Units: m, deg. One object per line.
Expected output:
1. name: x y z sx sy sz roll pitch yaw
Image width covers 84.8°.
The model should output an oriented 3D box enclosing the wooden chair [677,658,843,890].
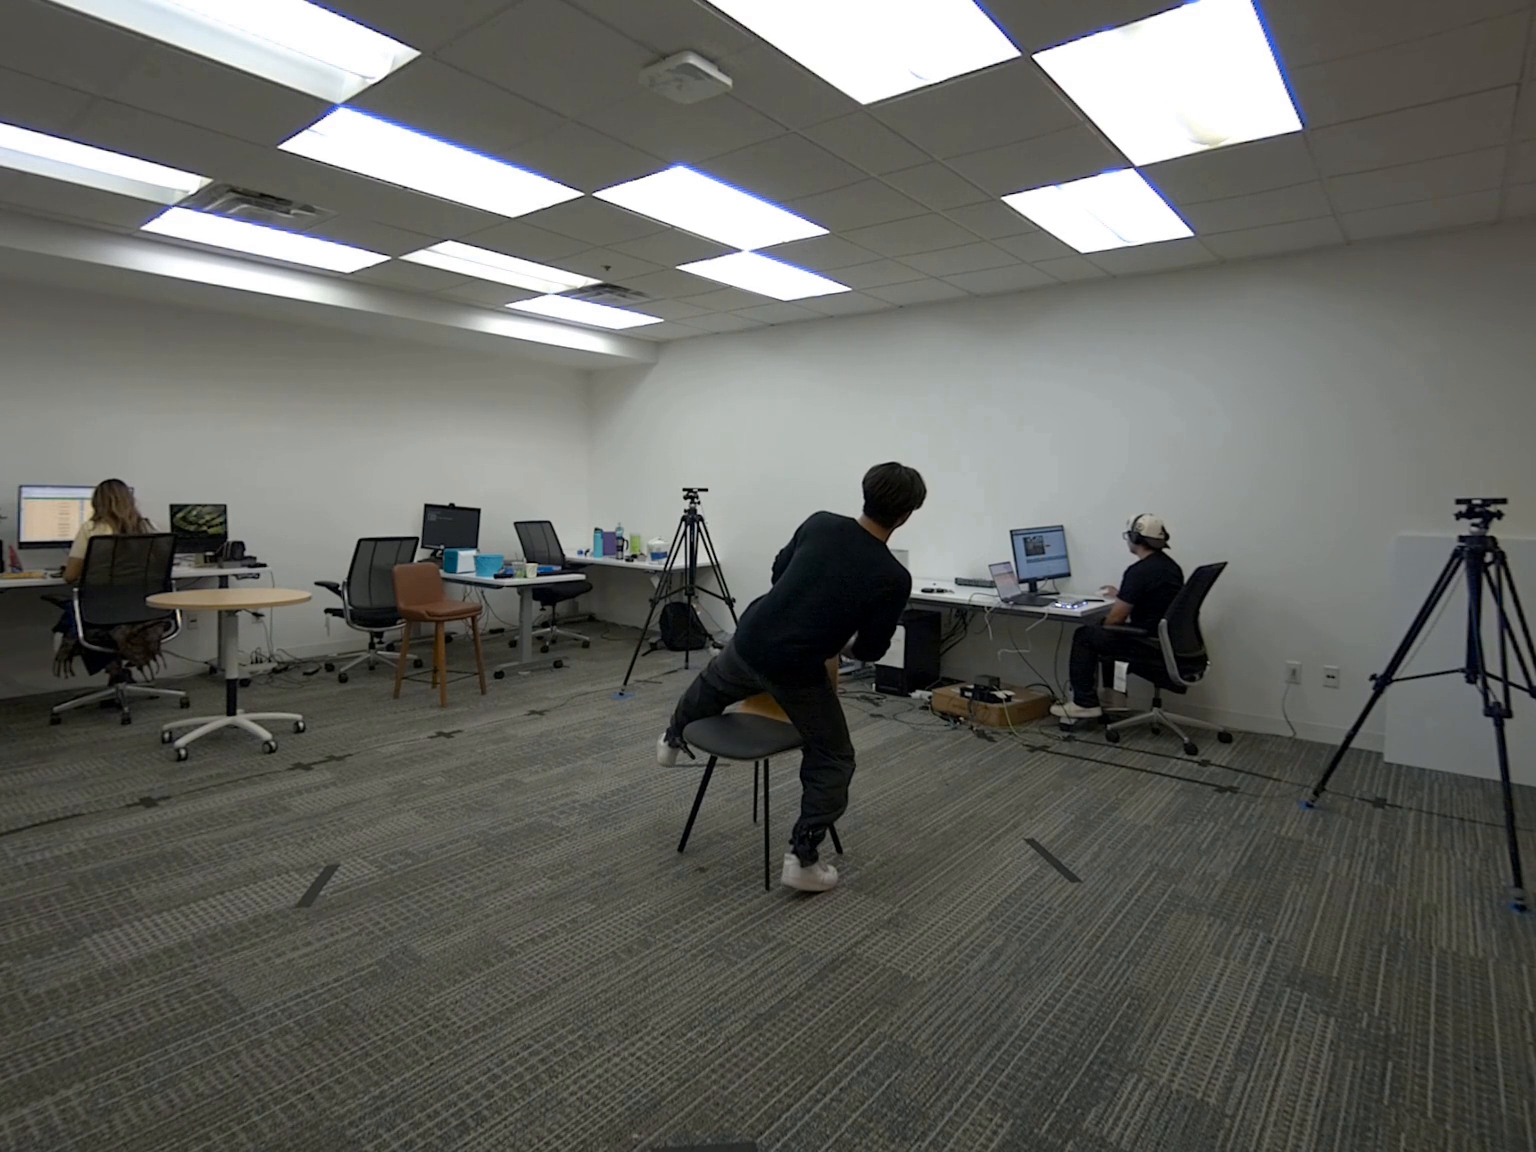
1. wooden chair: -0.034 0.632 3.235 0.494 0.878 0.505 4 0 41
